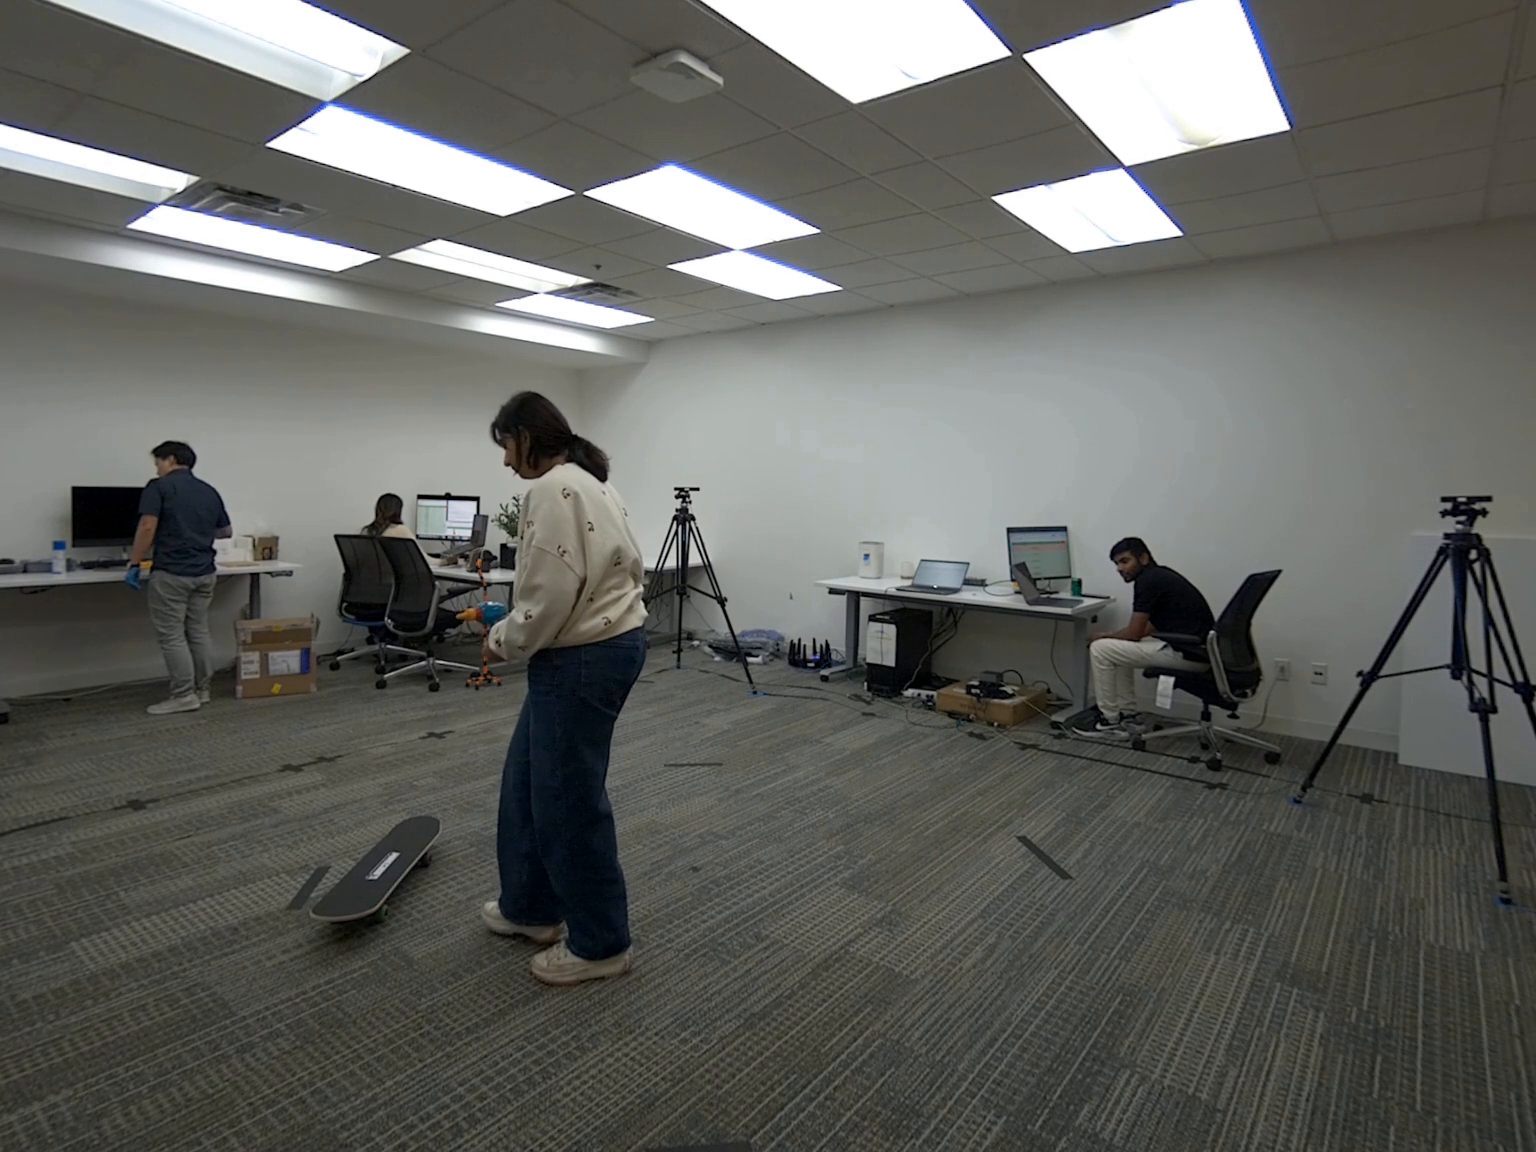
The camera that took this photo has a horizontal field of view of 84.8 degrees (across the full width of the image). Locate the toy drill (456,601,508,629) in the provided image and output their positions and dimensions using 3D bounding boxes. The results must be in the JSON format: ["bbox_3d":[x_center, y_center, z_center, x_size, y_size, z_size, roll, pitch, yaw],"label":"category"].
[{"bbox_3d":[-0.823,0.144,2.446,0.062,0.147,0.165,-20,-9,37],"label":"toy drill"}]
